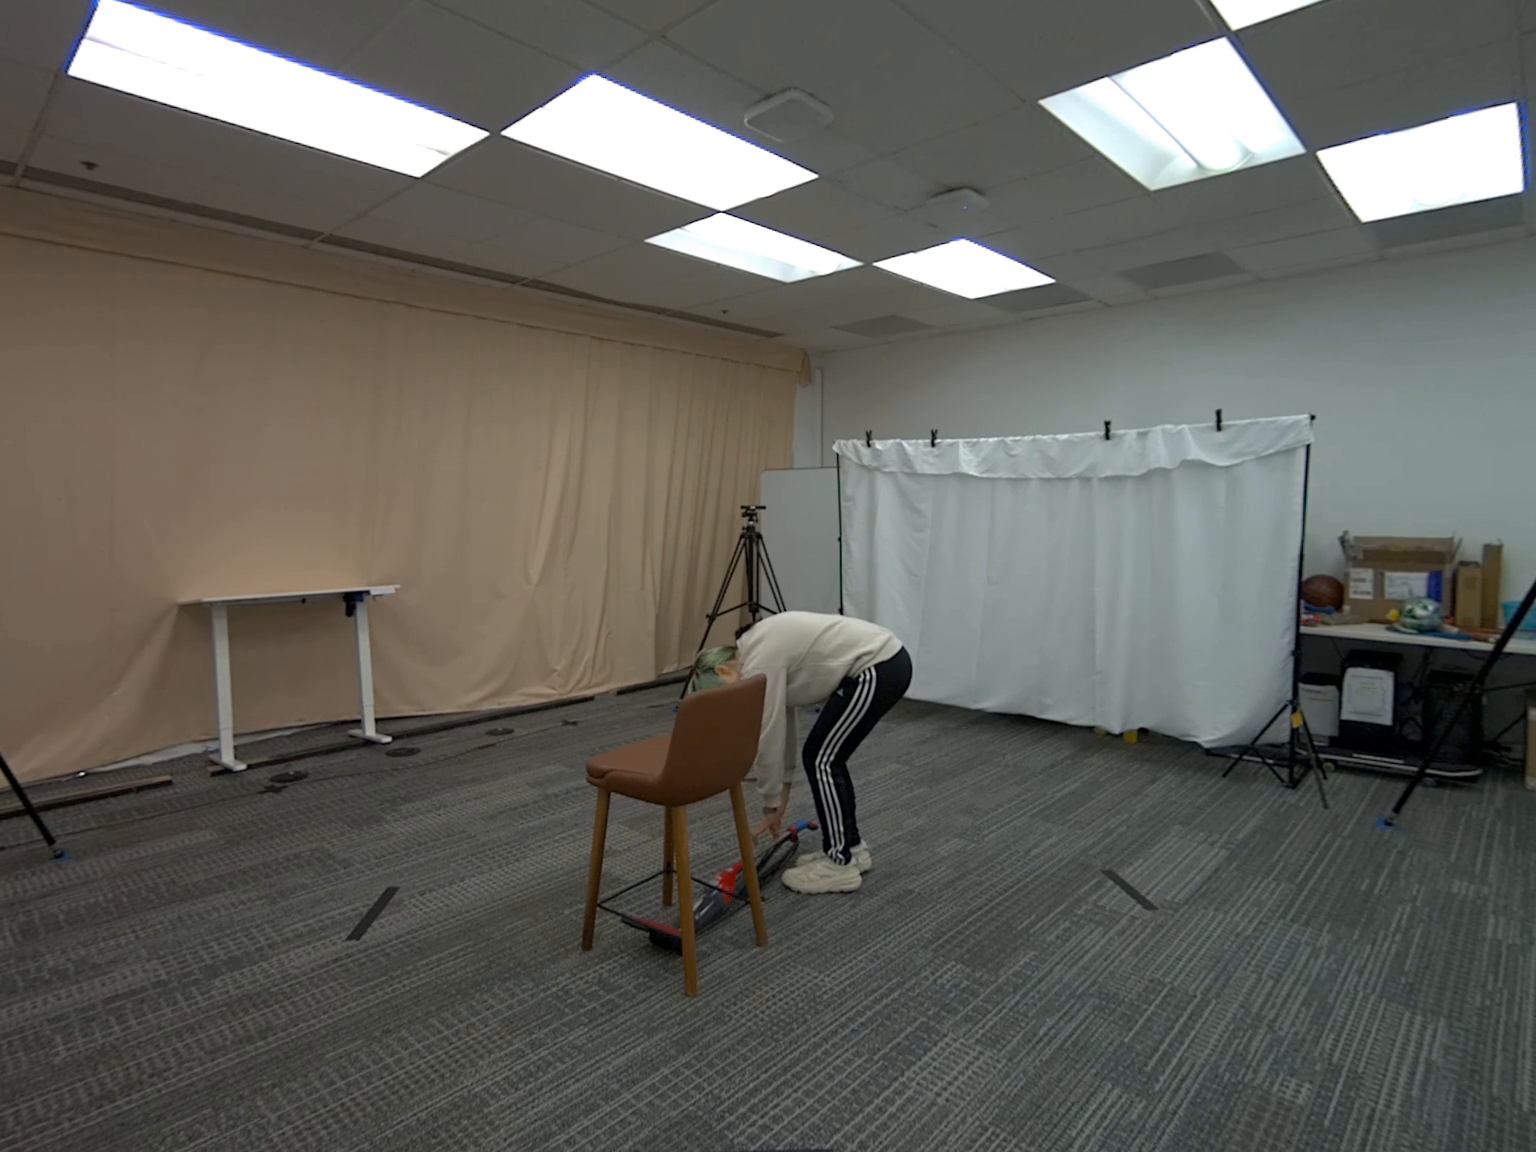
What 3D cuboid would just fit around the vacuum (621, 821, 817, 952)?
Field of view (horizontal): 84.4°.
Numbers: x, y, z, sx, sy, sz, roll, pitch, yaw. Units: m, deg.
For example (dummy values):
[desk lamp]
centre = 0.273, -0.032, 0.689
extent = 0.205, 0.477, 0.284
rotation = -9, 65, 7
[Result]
[vacuum]
centre = -0.068, 1.086, 3.053
extent = 0.260, 0.144, 1.020
rotation = 0, 4, 32
